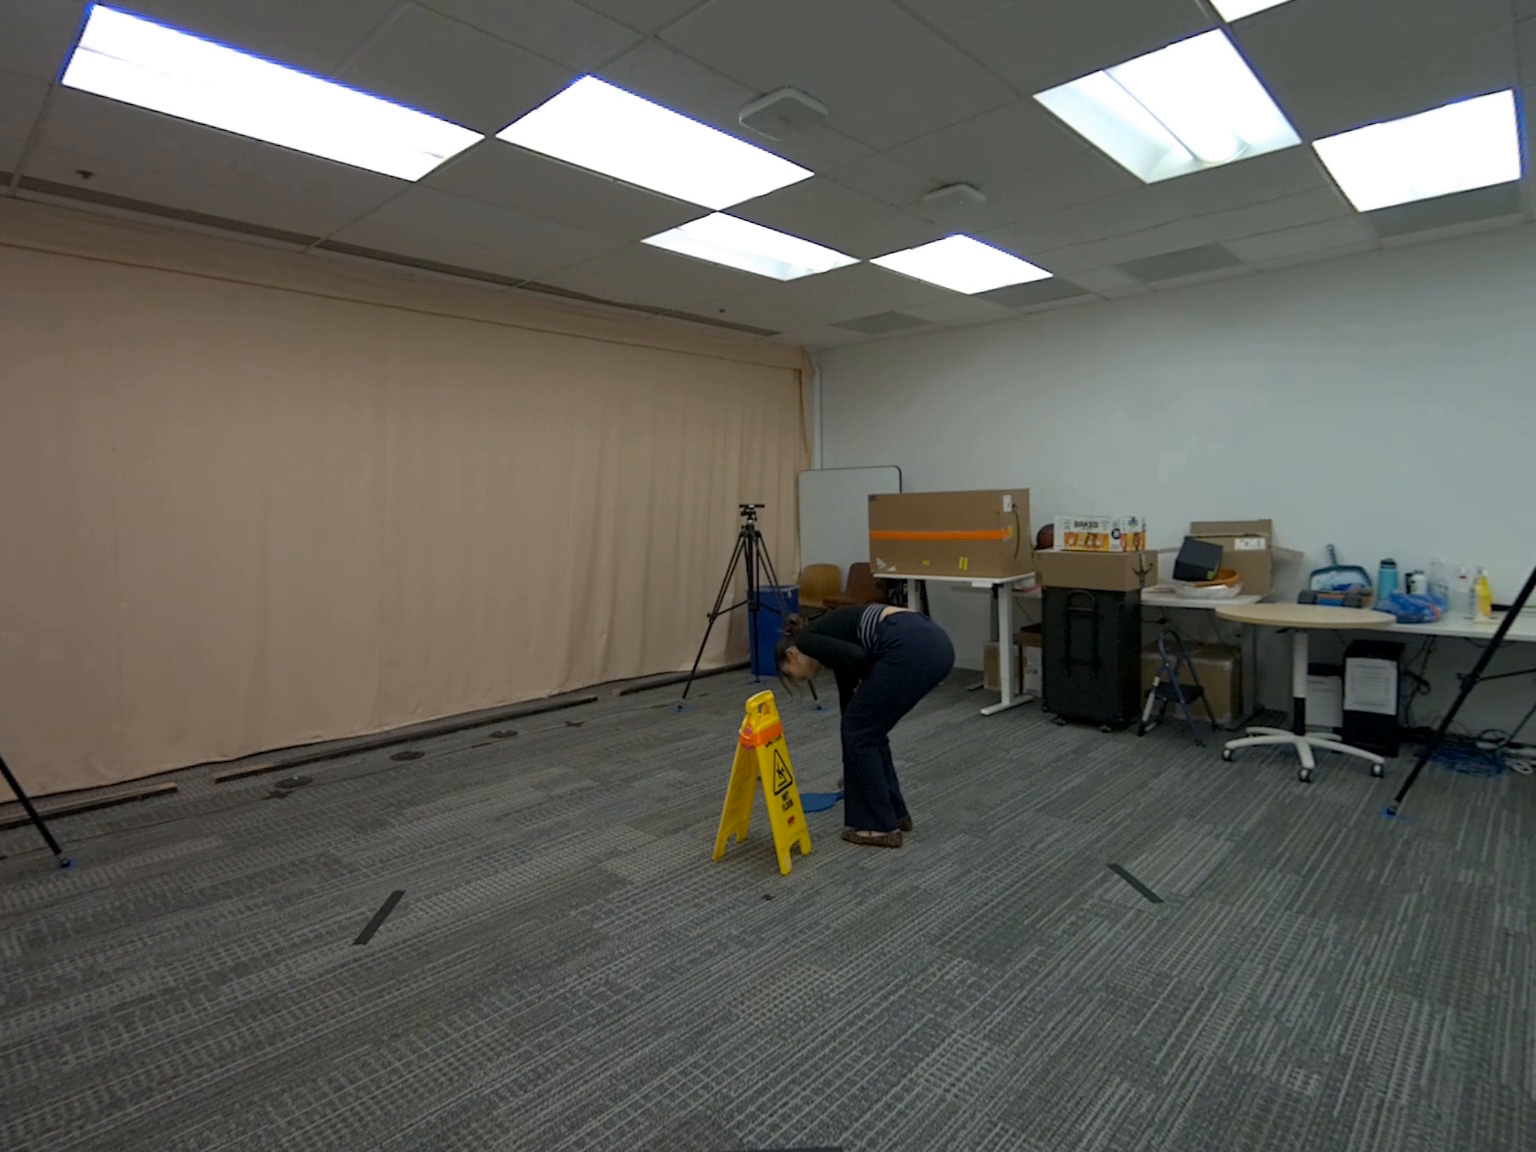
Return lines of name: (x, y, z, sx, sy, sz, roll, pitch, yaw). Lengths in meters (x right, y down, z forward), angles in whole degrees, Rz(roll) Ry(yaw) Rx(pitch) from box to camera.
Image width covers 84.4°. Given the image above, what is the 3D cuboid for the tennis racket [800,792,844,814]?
tennis racket: (0.259, 1.037, 3.930, 0.423, 0.031, 0.219, -5, 6, -24)
